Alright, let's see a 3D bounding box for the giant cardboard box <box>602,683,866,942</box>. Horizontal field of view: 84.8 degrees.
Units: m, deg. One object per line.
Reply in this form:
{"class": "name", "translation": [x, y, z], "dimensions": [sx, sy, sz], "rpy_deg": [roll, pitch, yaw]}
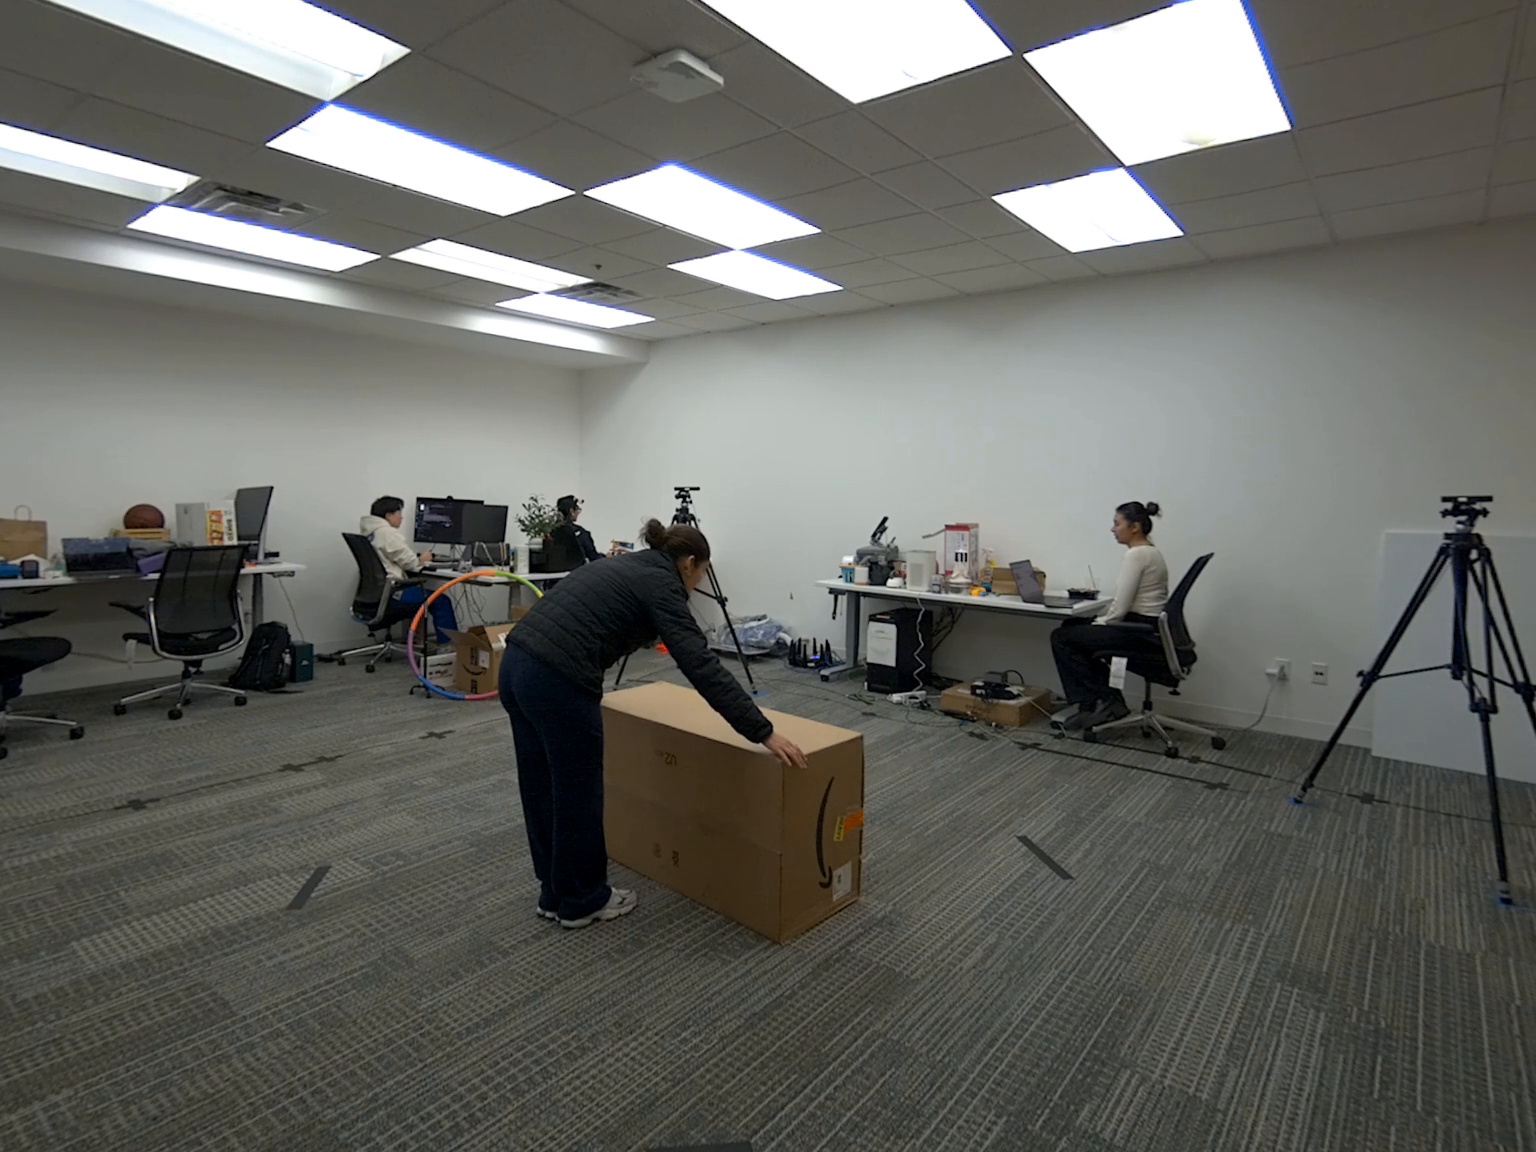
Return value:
{"class": "giant cardboard box", "translation": [-0.181, 0.781, 3.094], "dimensions": [1.062, 0.582, 0.433], "rpy_deg": [6, 5, 43]}
